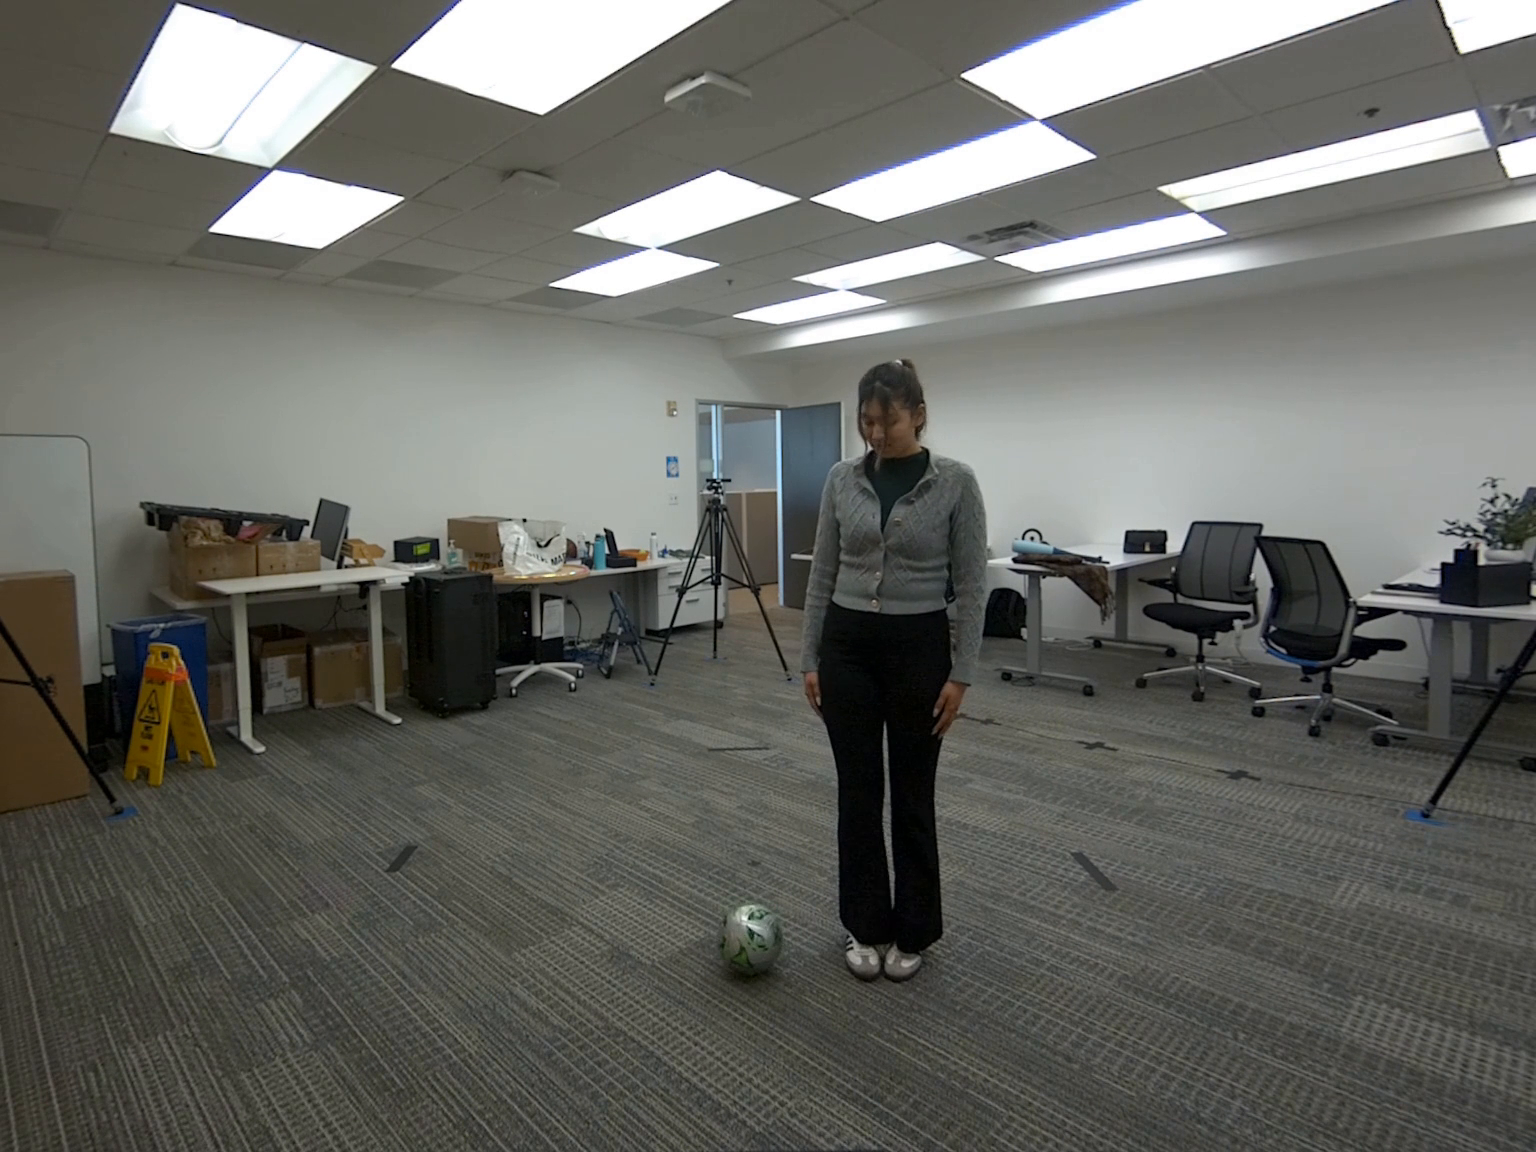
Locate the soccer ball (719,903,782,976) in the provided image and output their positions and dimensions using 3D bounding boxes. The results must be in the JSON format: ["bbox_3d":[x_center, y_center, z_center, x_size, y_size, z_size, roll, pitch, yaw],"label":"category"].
[{"bbox_3d":[-0.045,1.035,2.429,0.187,0.187,0.188,-1,5,-2],"label":"soccer ball"}]
